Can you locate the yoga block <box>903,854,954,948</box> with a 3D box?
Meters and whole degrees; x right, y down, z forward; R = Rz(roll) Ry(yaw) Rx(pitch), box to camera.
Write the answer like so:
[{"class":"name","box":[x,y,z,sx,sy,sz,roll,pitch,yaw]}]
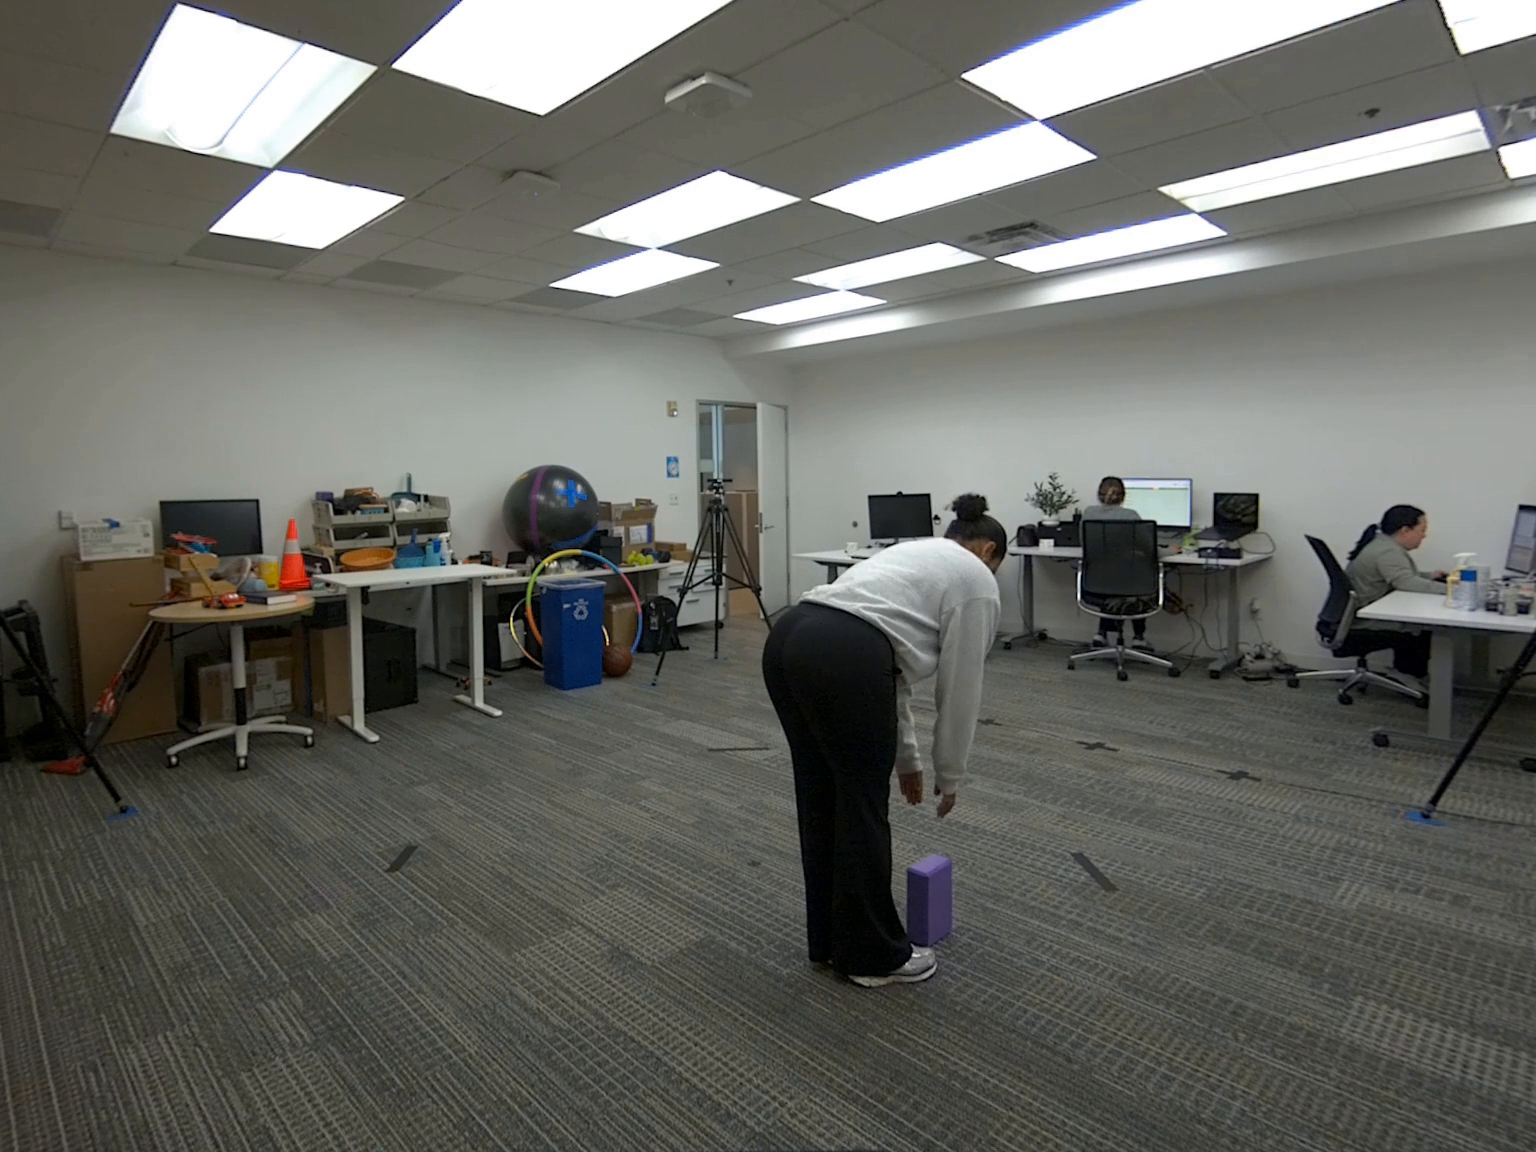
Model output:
[{"class":"yoga block","box":[0.491,0.976,2.583,0.079,0.229,0.145,1,4,44]}]
